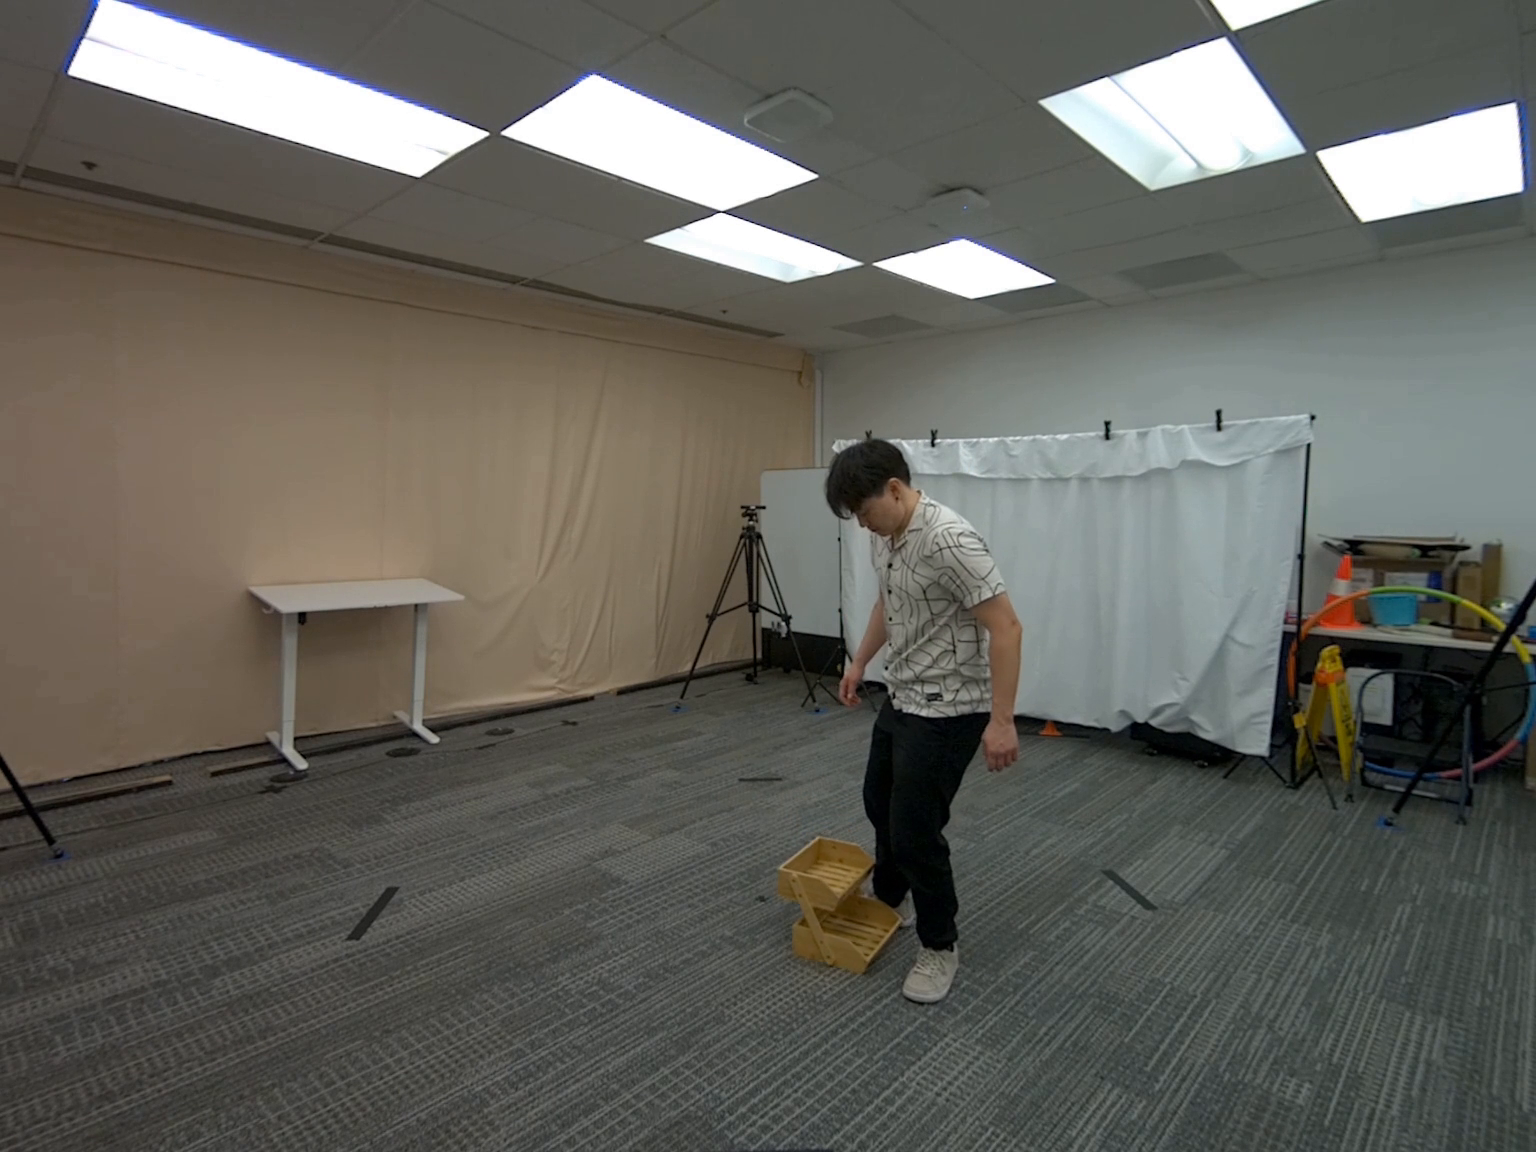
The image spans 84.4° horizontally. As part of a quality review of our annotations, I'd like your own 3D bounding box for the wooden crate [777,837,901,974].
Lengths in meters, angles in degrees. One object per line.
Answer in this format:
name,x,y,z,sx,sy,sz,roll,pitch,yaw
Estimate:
wooden crate,0.242,1.035,2.681,0.311,0.273,0.316,2,4,30
